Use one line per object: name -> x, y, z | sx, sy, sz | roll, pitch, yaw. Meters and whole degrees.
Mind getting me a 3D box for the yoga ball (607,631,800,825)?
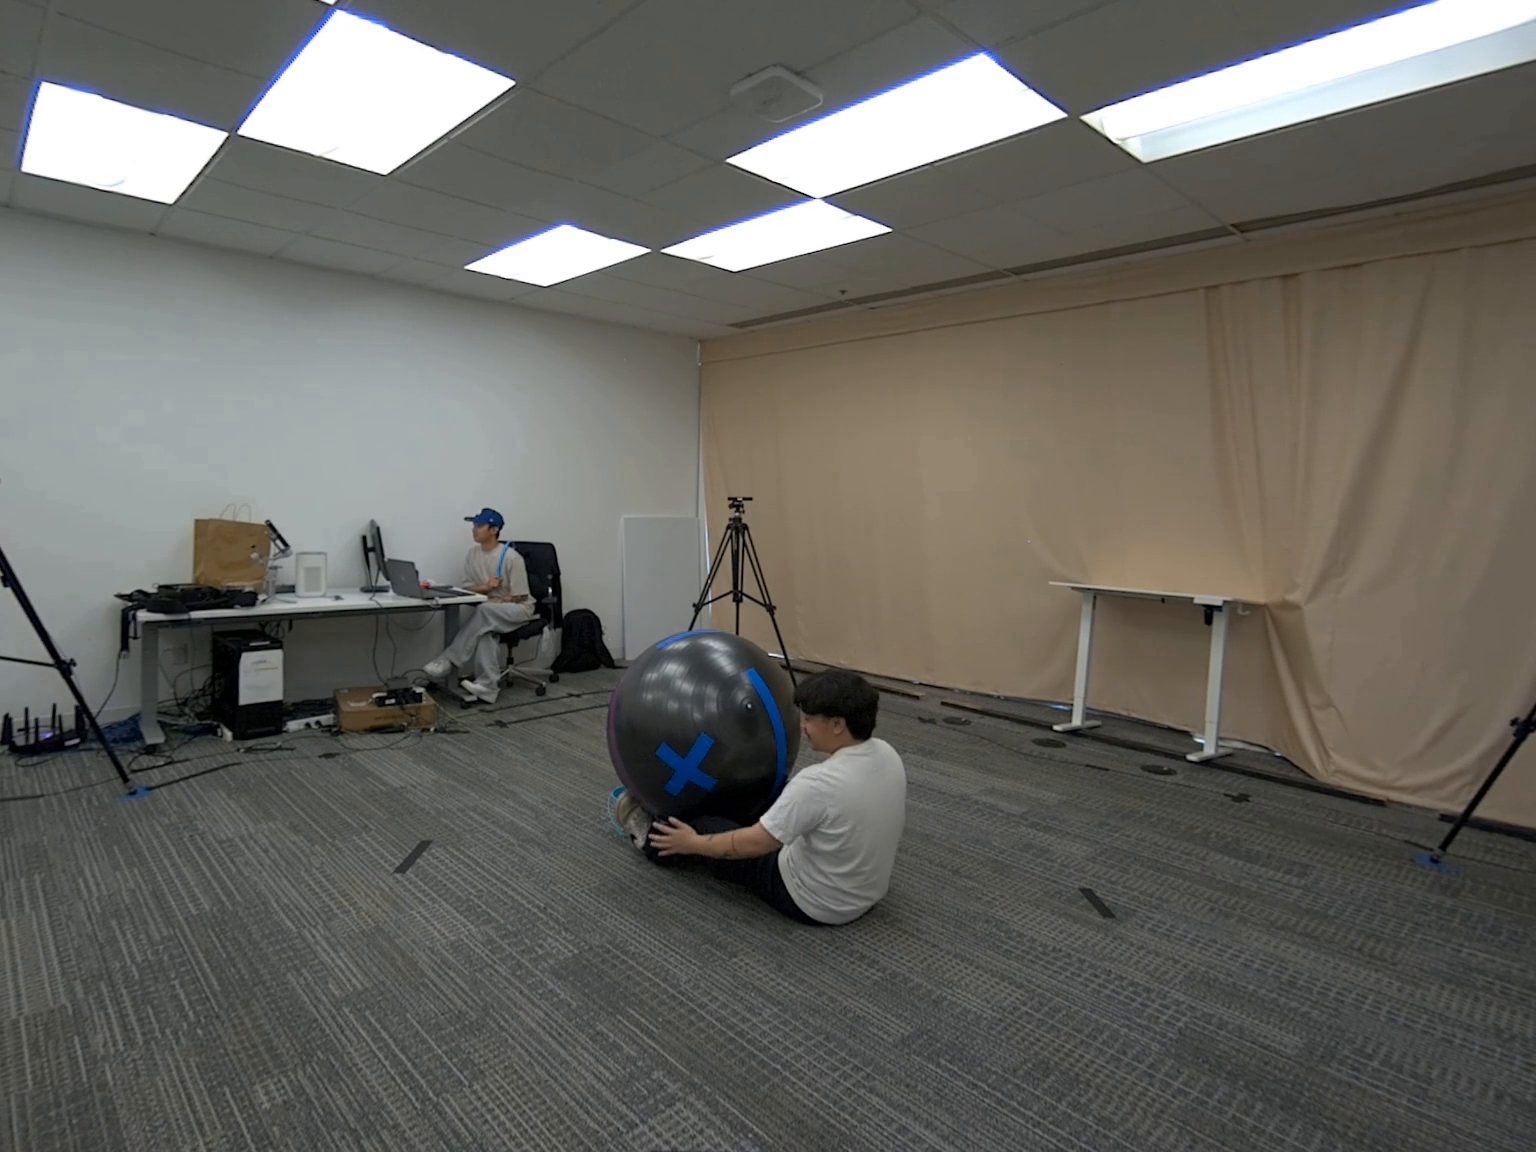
yoga ball -> -0.254, 0.593, 3.299 | 0.757, 0.756, 0.760 | 1, 4, -1
